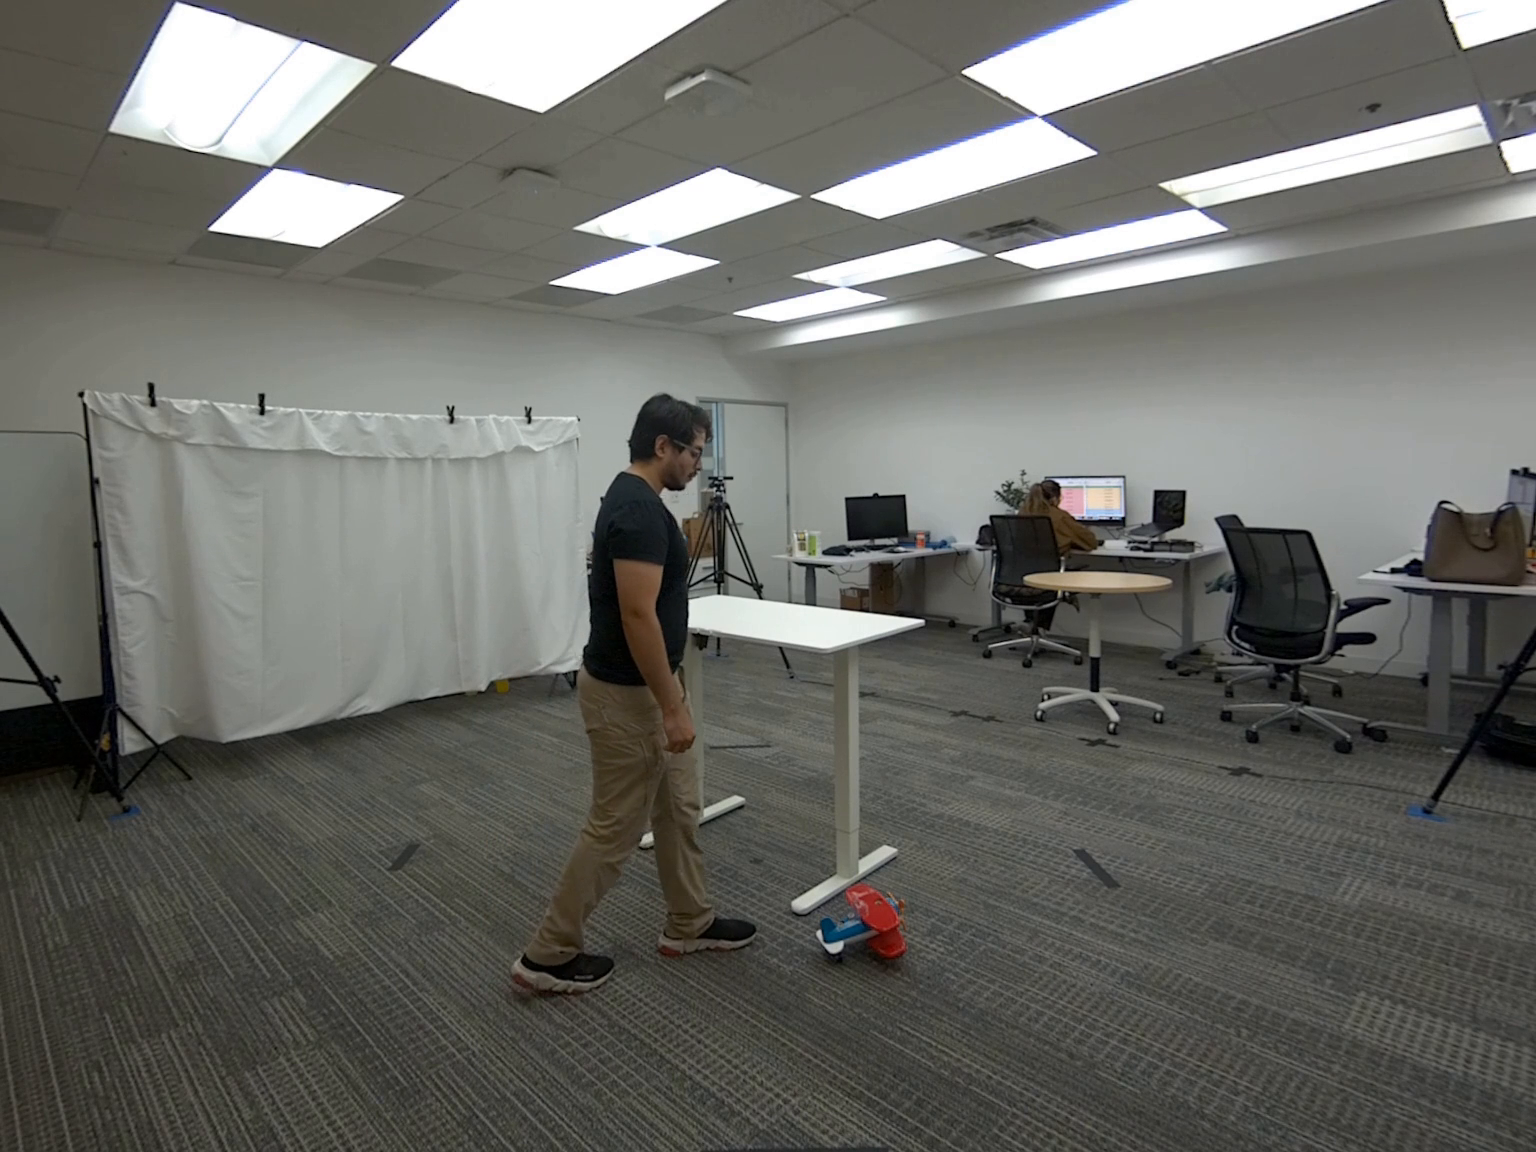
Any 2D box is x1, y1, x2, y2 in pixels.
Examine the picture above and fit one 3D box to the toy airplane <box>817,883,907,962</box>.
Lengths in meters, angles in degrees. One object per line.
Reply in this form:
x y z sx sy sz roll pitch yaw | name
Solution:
0.278 1.029 2.472 0.252 0.156 0.259 -5 8 -43 | toy airplane
